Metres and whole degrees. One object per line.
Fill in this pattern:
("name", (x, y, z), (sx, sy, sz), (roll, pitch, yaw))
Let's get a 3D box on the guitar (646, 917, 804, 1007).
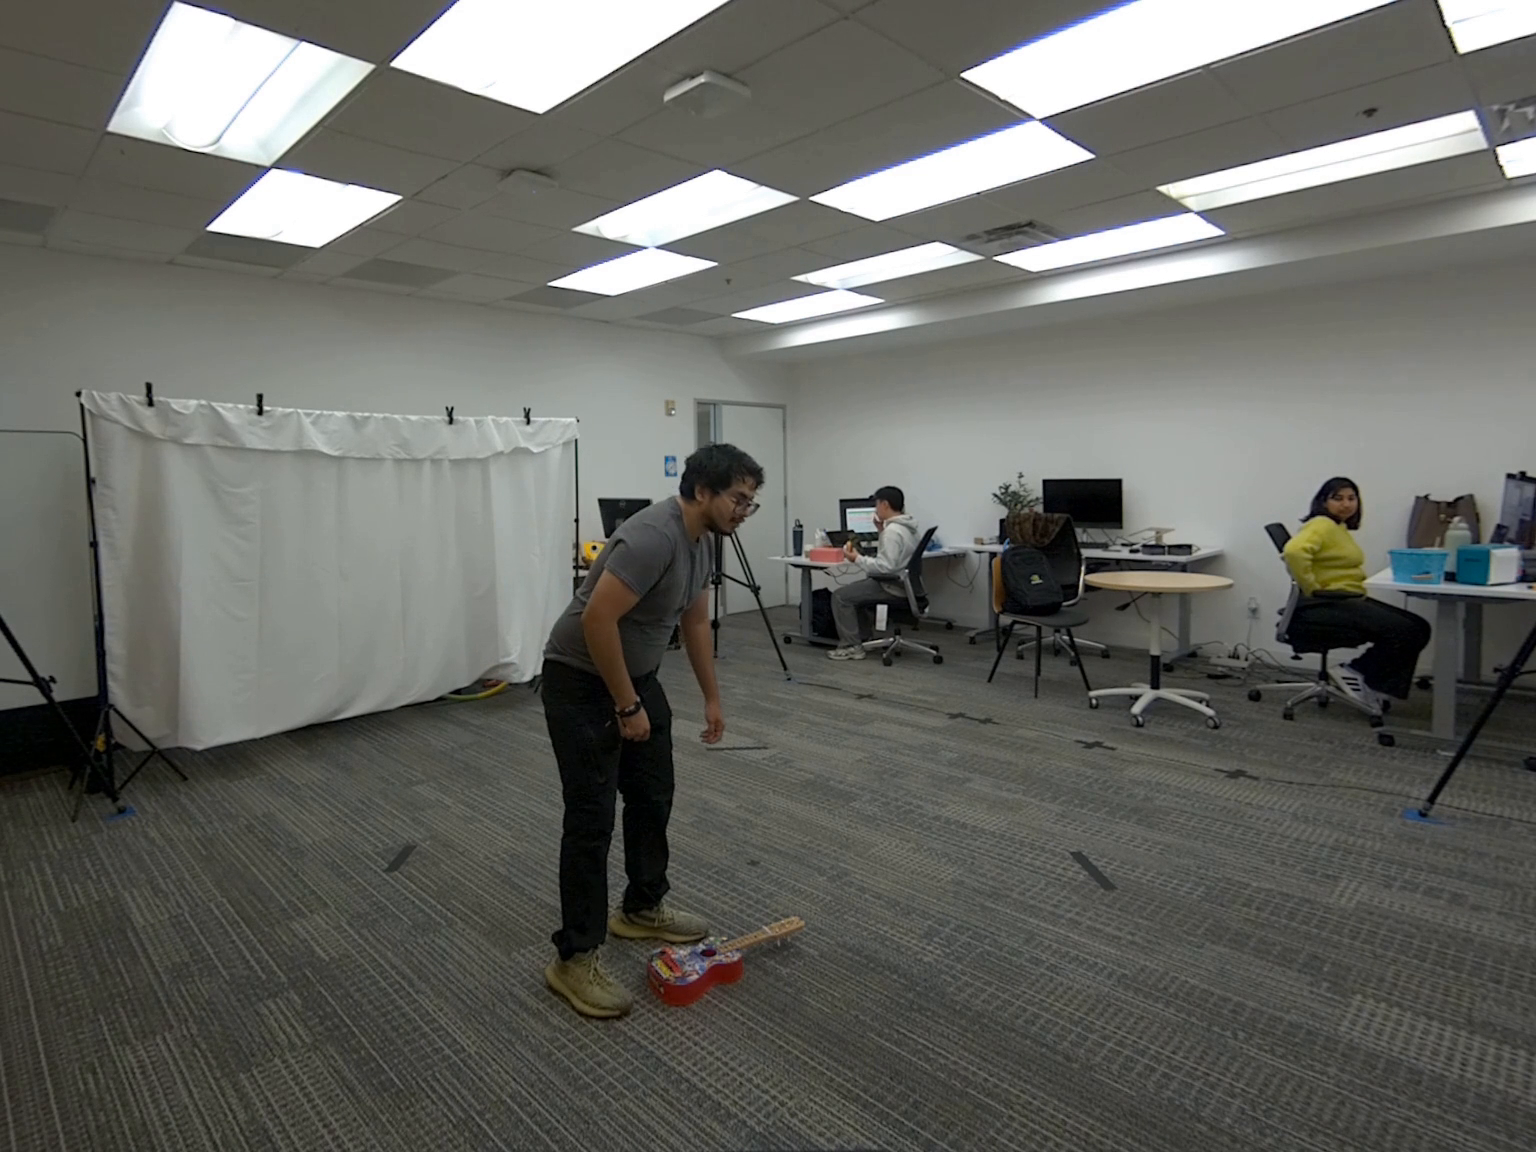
("guitar", (-0.087, 1.092, 2.426), (0.488, 0.070, 0.197), (-4, 6, -22))
